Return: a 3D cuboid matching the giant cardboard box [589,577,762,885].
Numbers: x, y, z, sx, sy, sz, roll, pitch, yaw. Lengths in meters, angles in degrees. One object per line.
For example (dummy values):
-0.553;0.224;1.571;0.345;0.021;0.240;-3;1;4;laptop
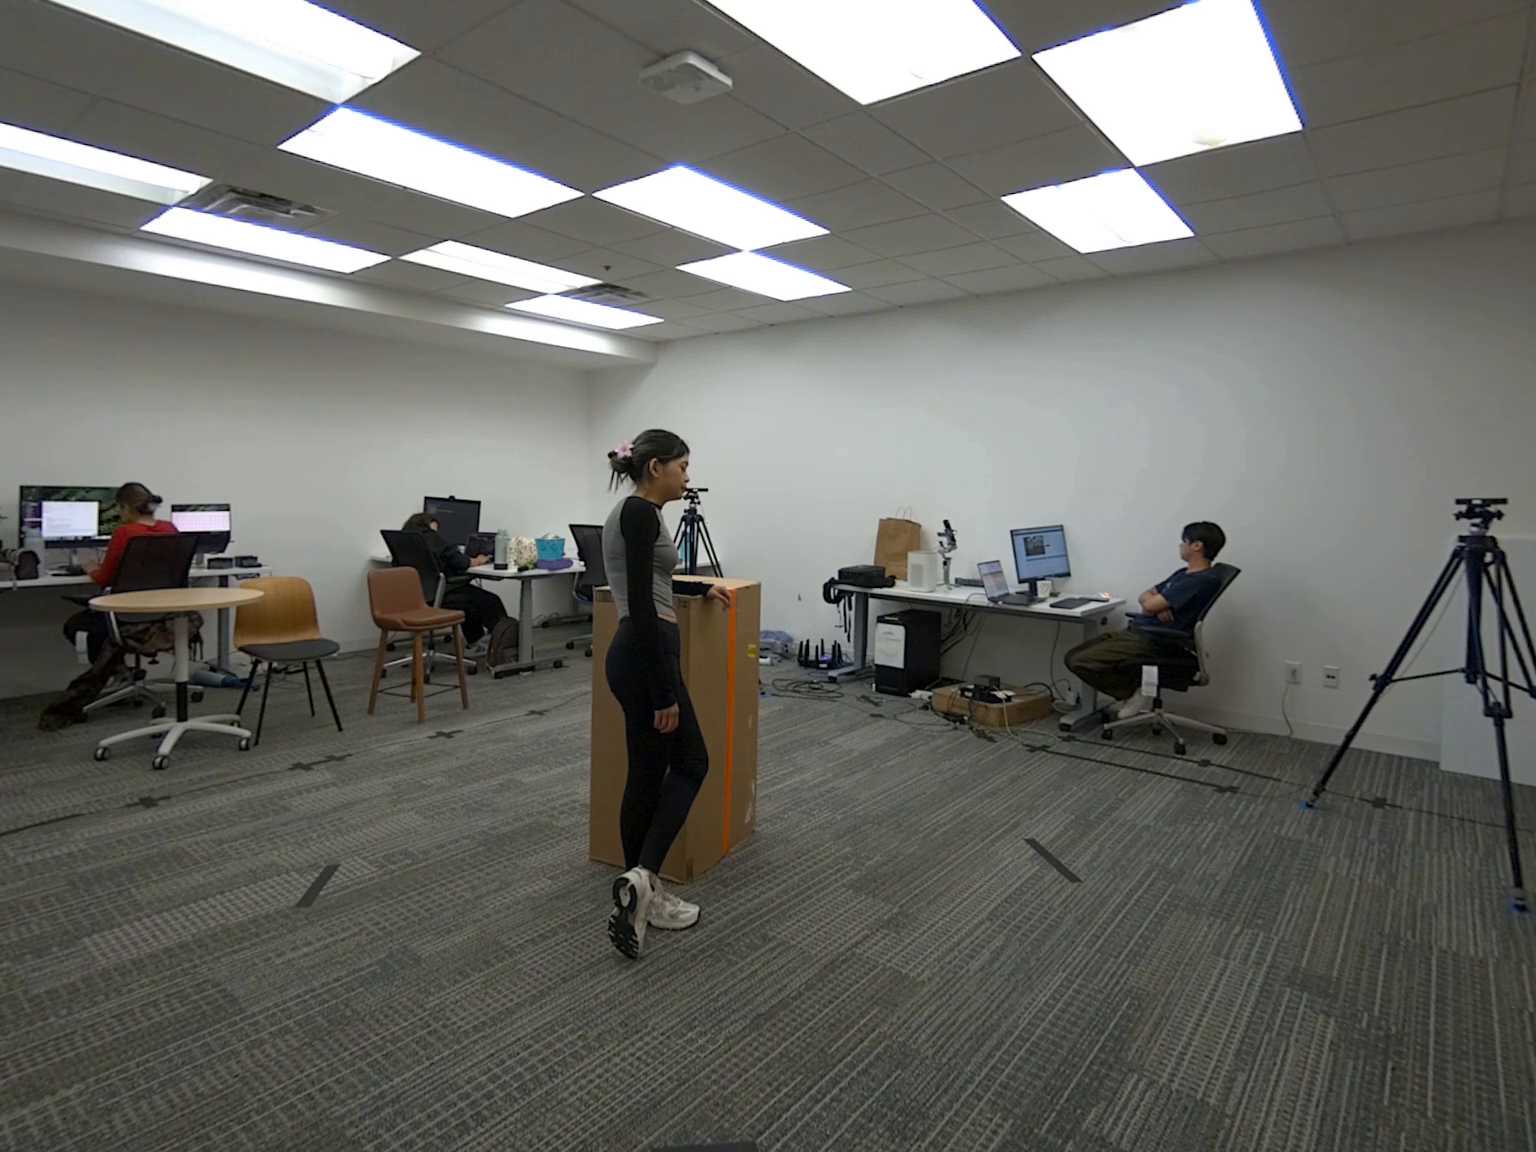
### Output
-0.356;0.539;3.304;0.438;1.022;0.564;3;4;27;giant cardboard box
